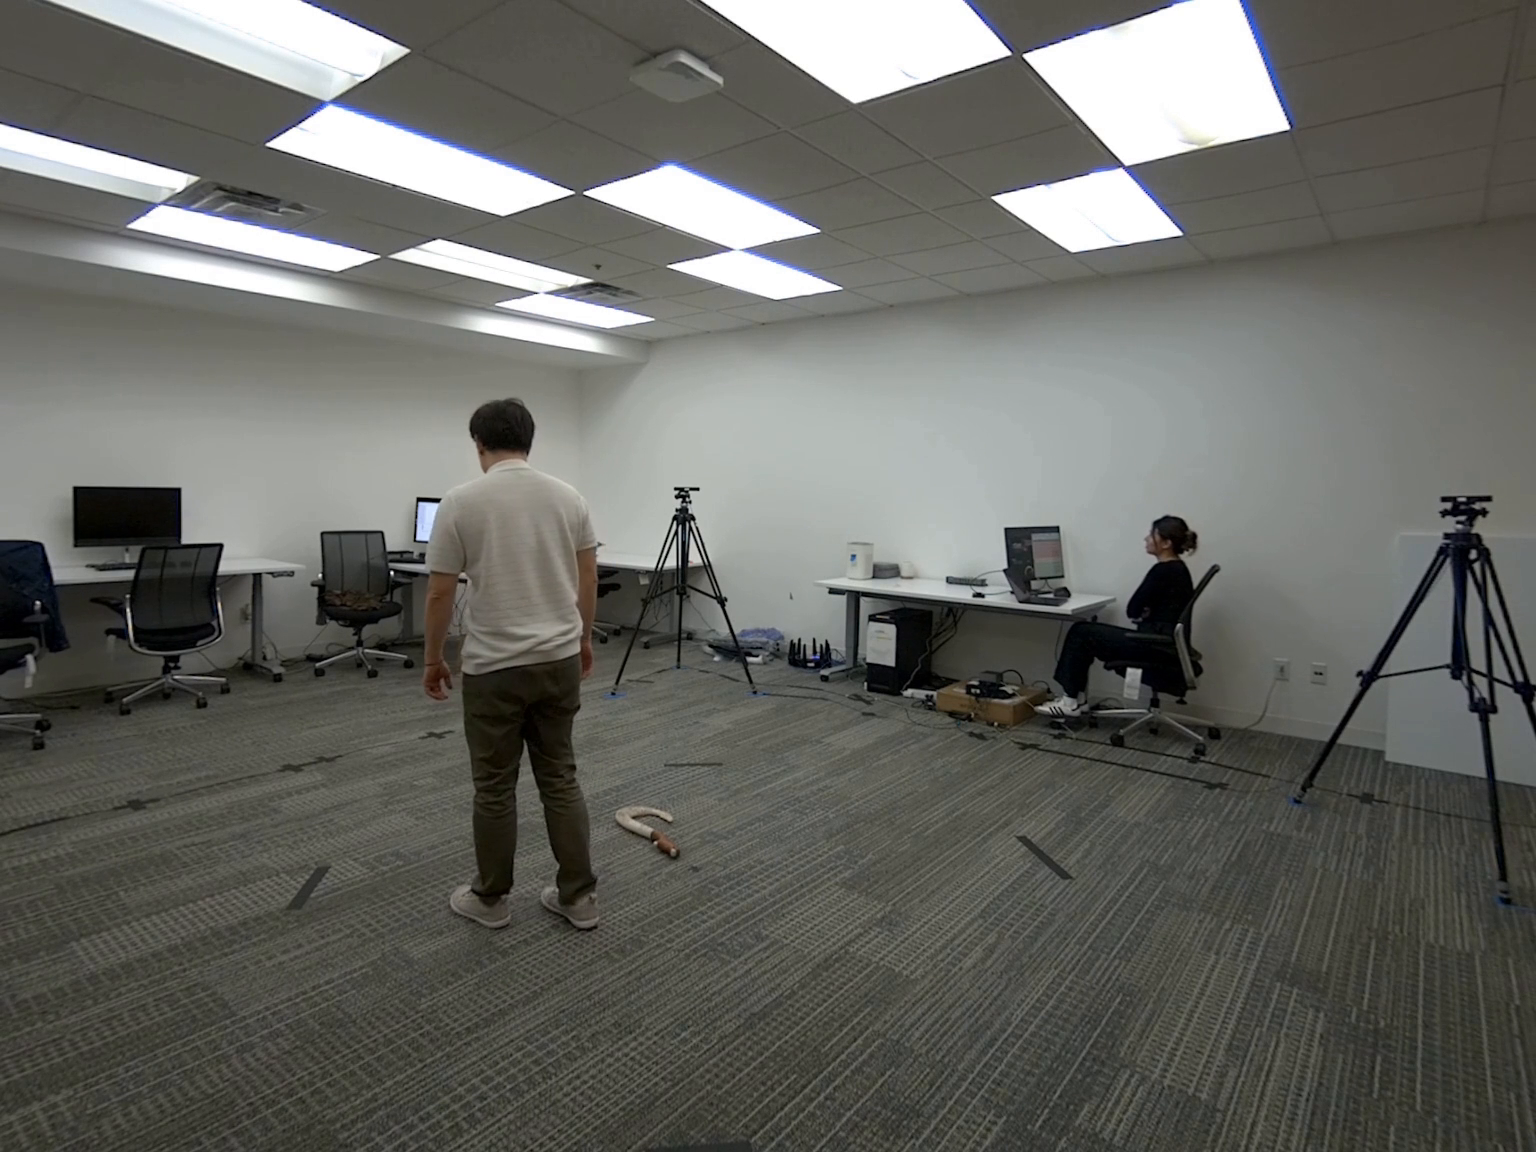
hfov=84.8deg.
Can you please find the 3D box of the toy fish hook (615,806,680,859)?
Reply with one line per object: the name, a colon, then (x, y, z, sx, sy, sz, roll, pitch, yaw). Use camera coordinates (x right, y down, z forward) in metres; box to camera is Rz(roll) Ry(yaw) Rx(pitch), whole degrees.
toy fish hook: (-0.450, 1.011, 3.414, 0.218, 0.048, 0.523, -4, 8, -33)
